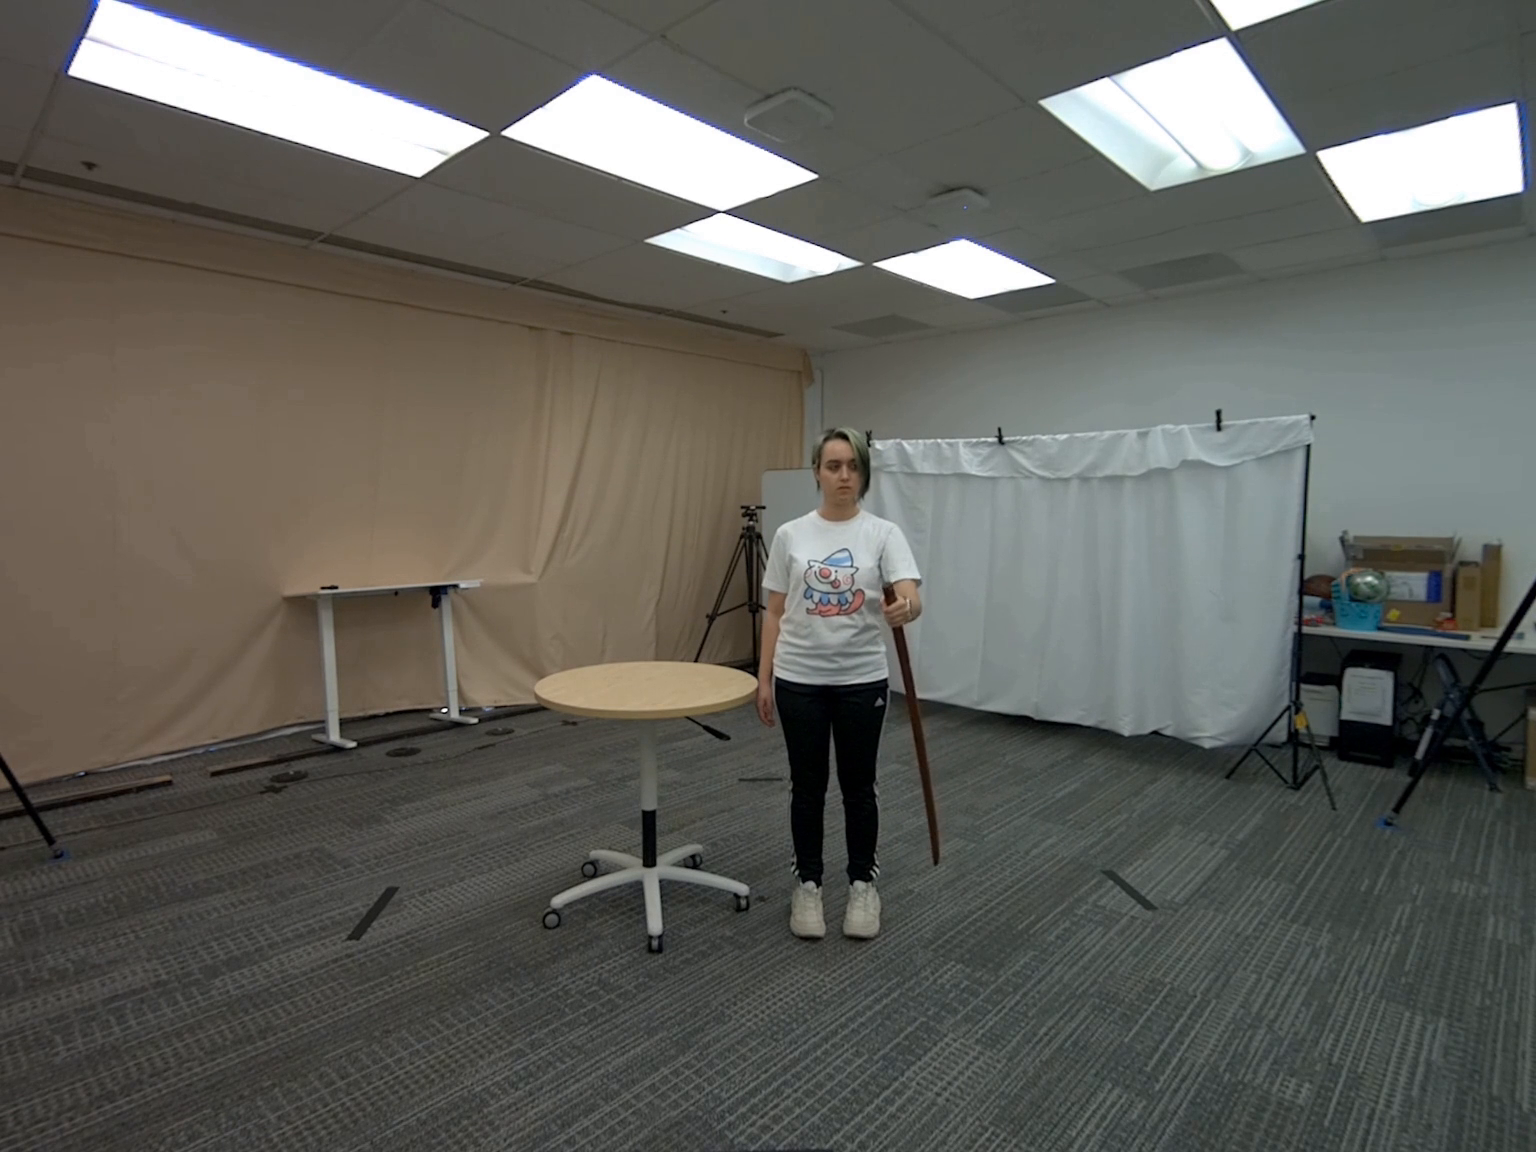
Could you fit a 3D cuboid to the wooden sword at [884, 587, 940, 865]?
[{"bbox_3d":[0.447,0.488,2.503,0.025,1.003,0.050,7,34,40],"label":"wooden sword"}]
